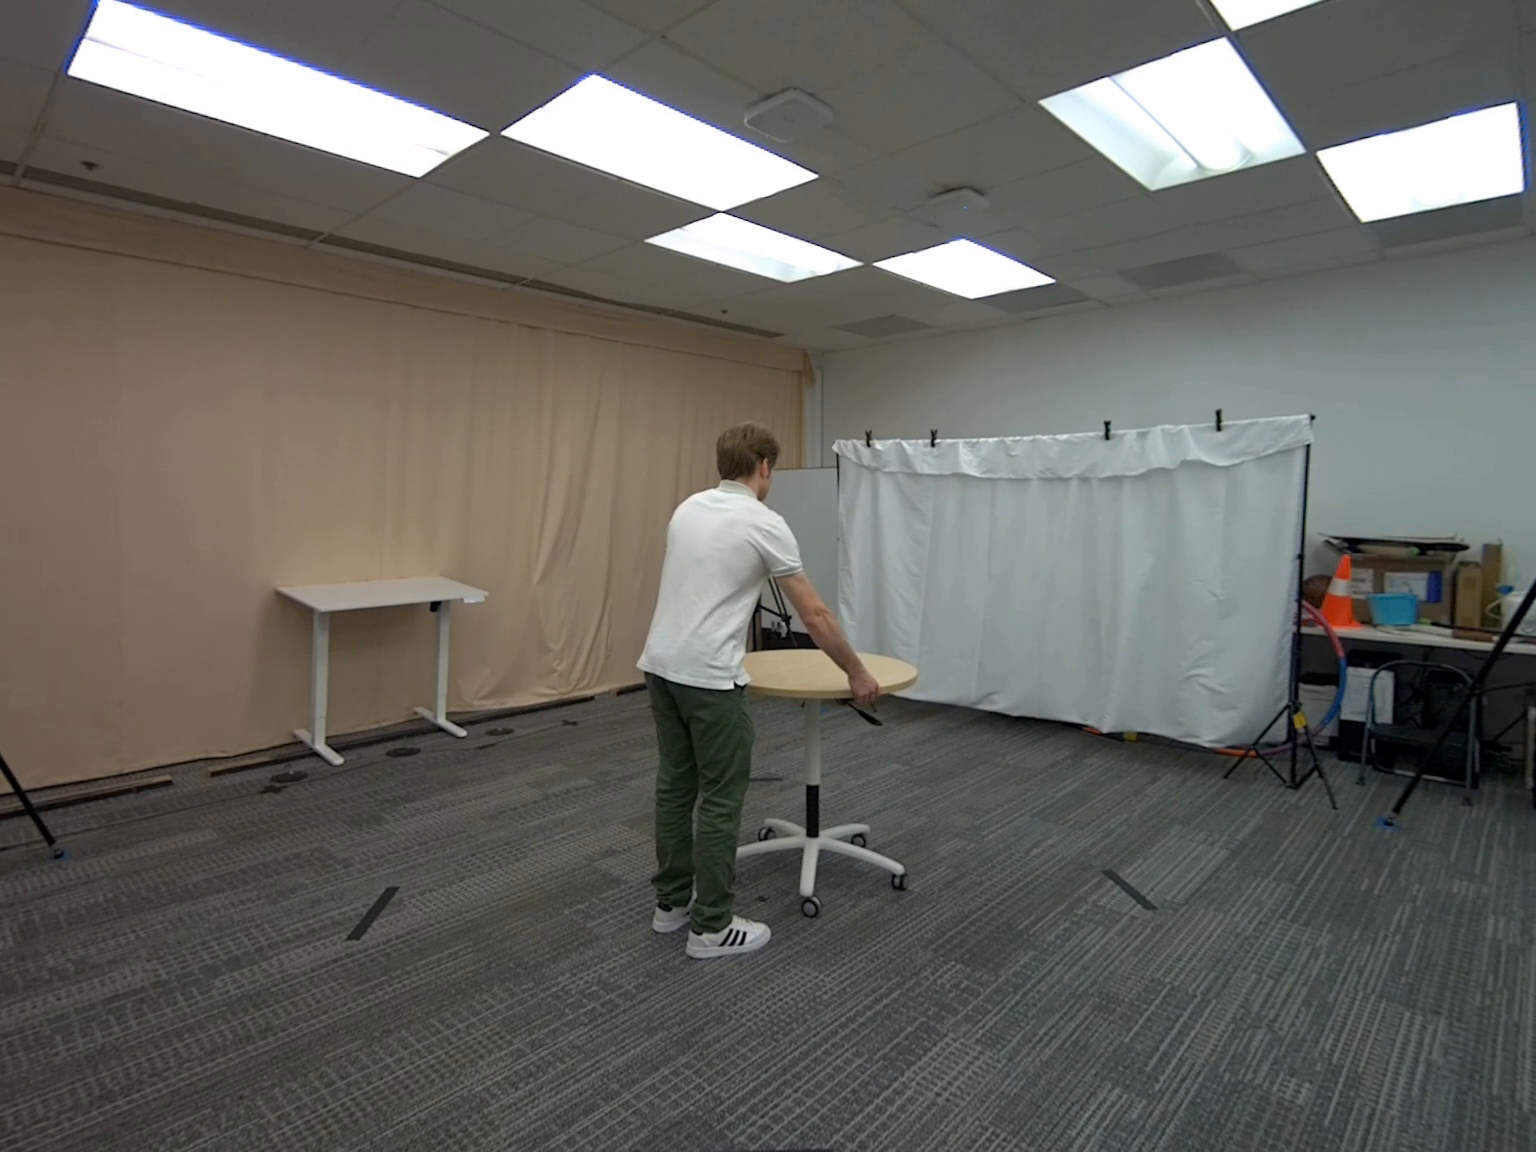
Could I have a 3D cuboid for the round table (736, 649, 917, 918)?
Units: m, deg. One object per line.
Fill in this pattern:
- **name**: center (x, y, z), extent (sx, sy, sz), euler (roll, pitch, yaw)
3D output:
- **round table**: center (0.172, 0.738, 3.179), extent (0.763, 0.792, 0.767), euler (0, 4, -2)
